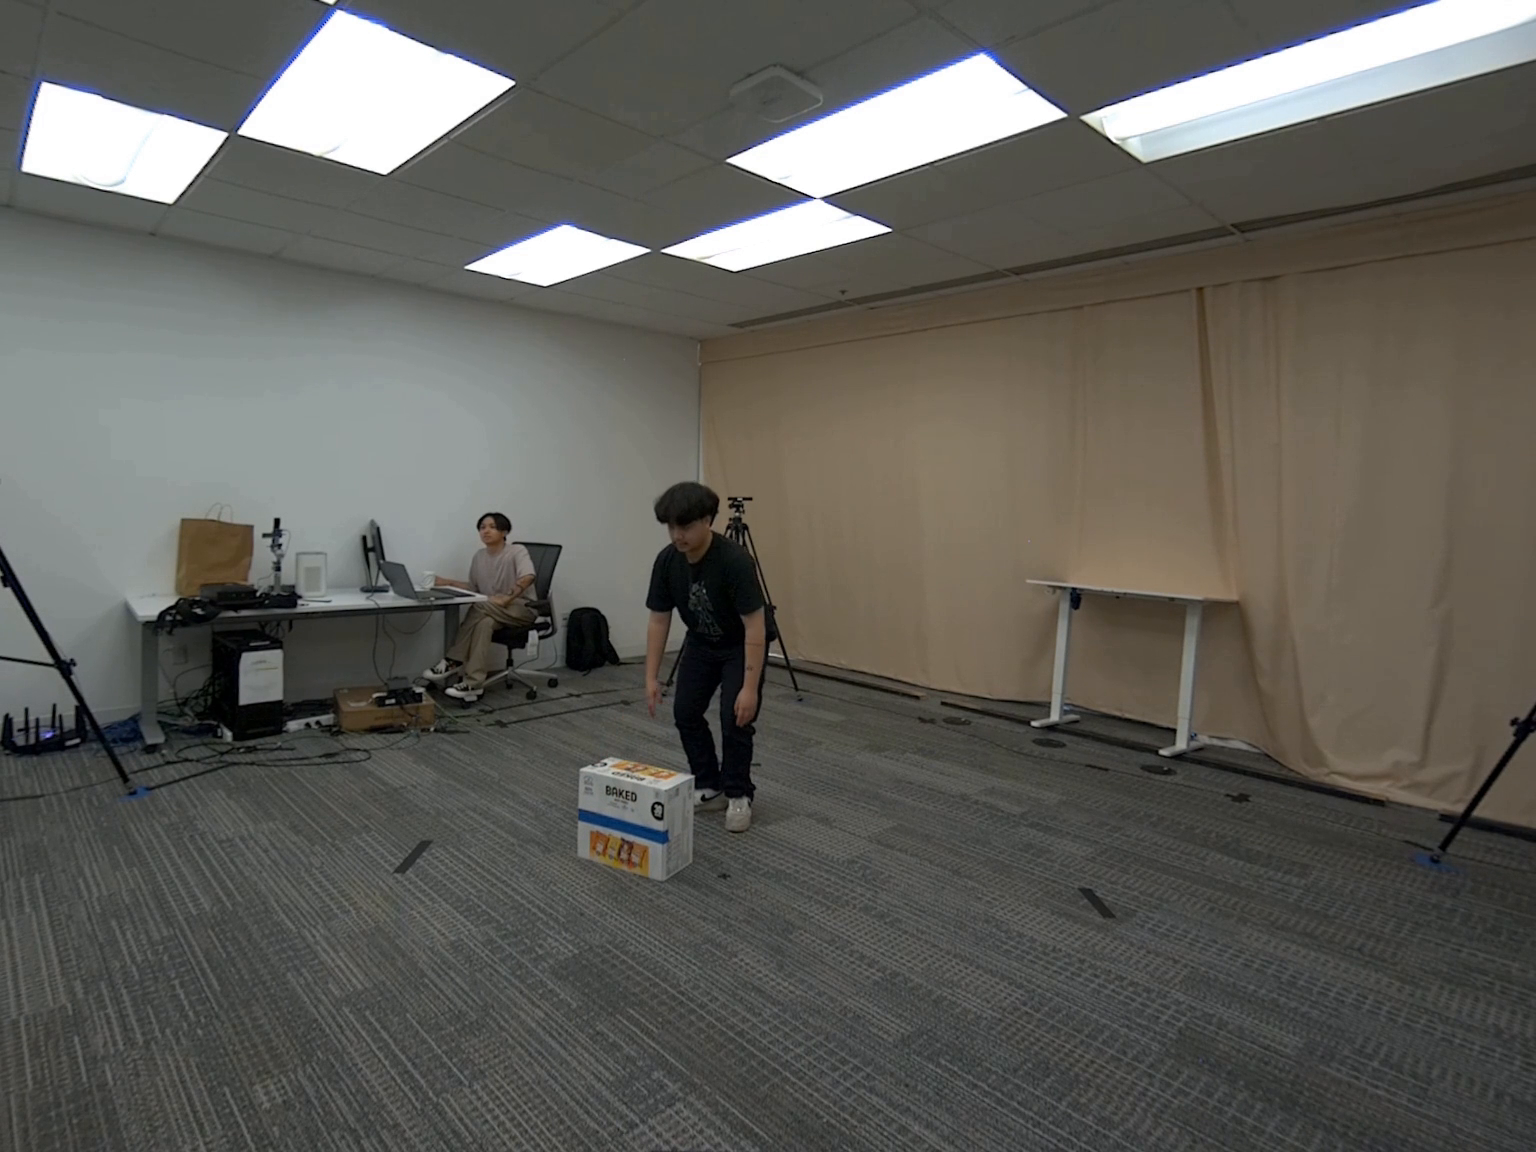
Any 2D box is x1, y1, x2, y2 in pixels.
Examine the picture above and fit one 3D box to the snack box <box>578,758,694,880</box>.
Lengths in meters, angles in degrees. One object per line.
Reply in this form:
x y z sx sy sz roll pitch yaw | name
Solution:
-0.515 0.918 3.220 0.414 0.339 0.202 4 4 30 | snack box
